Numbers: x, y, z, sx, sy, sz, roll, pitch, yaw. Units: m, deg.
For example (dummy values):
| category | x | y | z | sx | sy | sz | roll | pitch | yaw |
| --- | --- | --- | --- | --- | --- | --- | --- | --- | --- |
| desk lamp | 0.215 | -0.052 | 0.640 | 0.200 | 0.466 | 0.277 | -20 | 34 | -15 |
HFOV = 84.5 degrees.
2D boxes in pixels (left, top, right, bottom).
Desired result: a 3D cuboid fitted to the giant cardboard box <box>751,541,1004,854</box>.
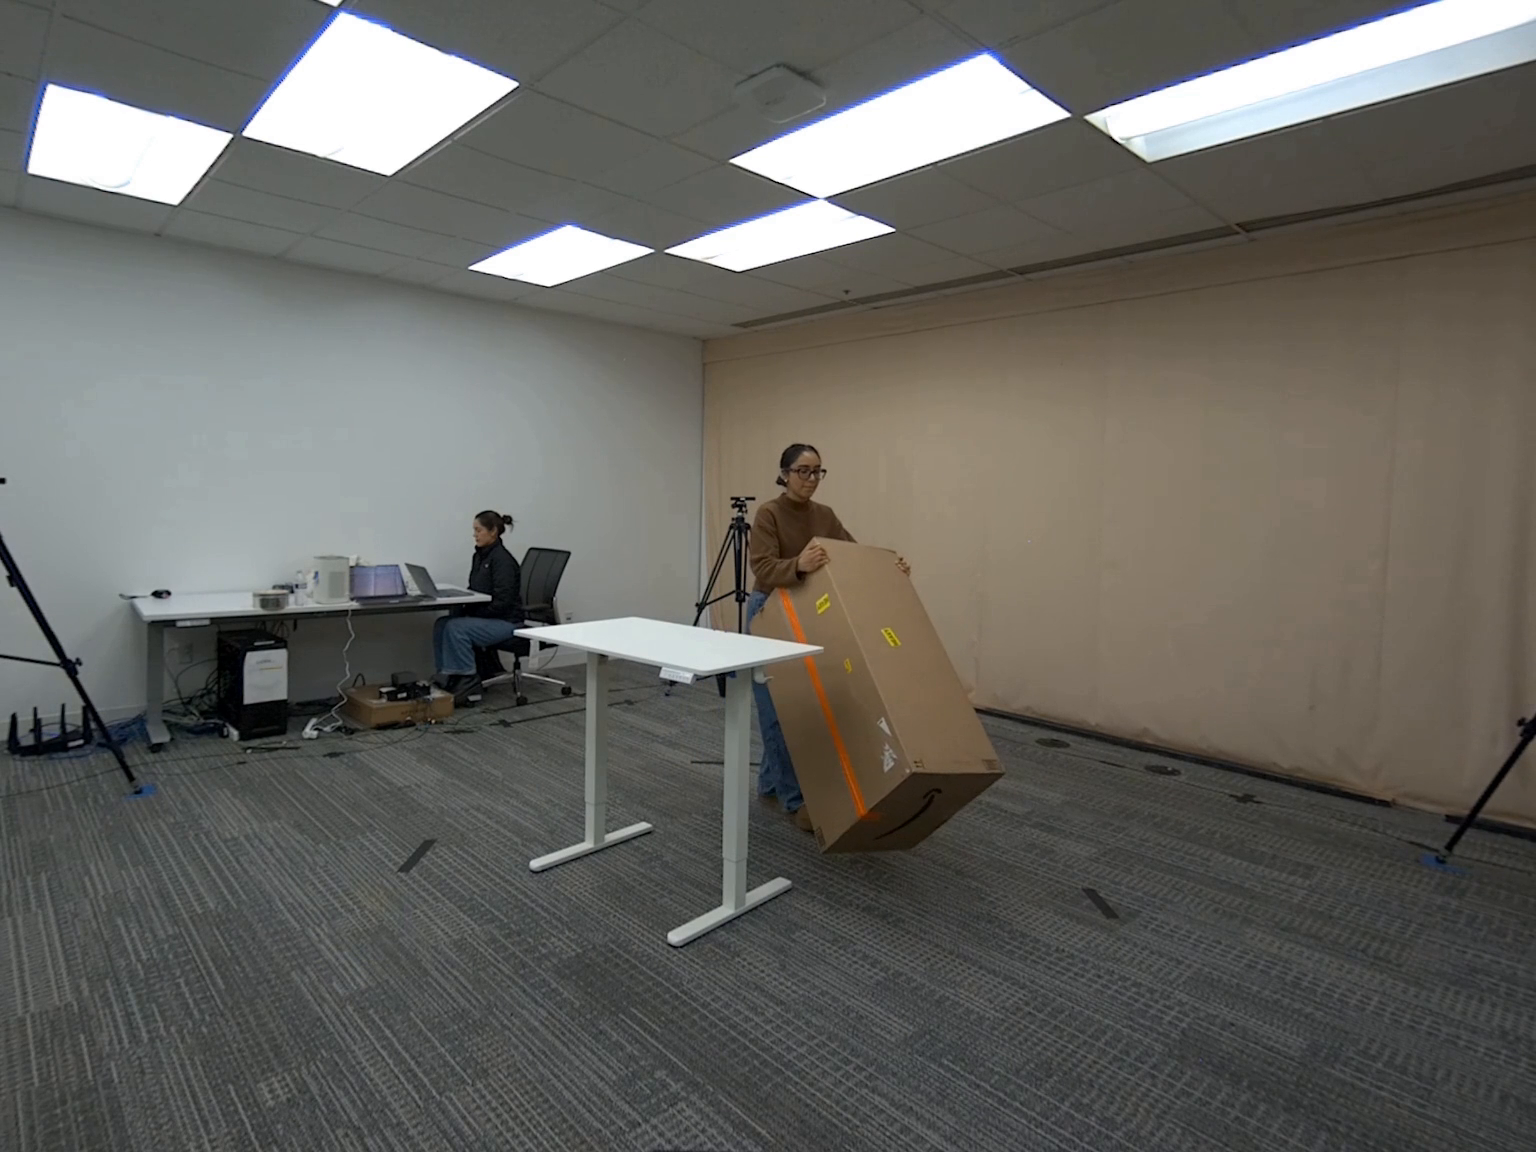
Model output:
| category | x | y | z | sx | sy | sz | roll | pitch | yaw |
| --- | --- | --- | --- | --- | --- | --- | --- | --- | --- |
| giant cardboard box | 0.365 | 0.454 | 3.232 | 0.416 | 1.054 | 0.575 | 9 | -45 | -31 |
